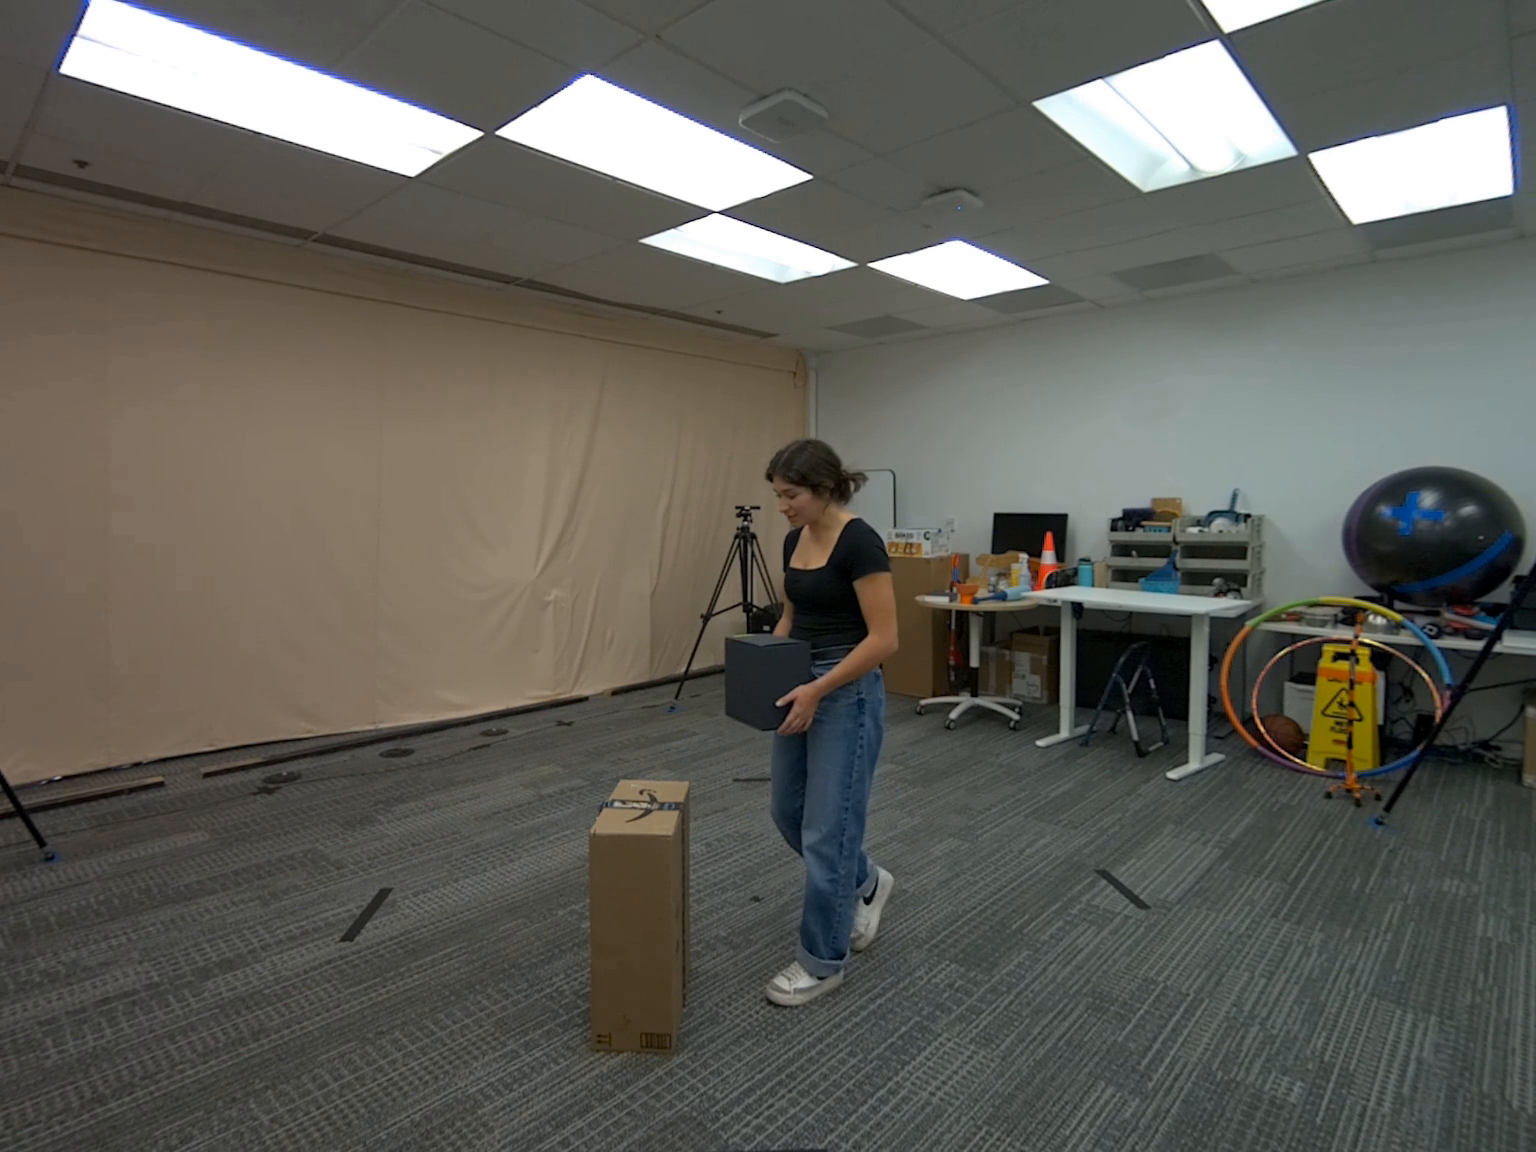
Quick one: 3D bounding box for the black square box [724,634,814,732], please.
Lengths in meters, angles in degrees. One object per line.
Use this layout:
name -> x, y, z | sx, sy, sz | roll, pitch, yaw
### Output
black square box -> -0.002, 0.290, 2.371 | 0.151, 0.227, 0.224 | -6, 6, -35
